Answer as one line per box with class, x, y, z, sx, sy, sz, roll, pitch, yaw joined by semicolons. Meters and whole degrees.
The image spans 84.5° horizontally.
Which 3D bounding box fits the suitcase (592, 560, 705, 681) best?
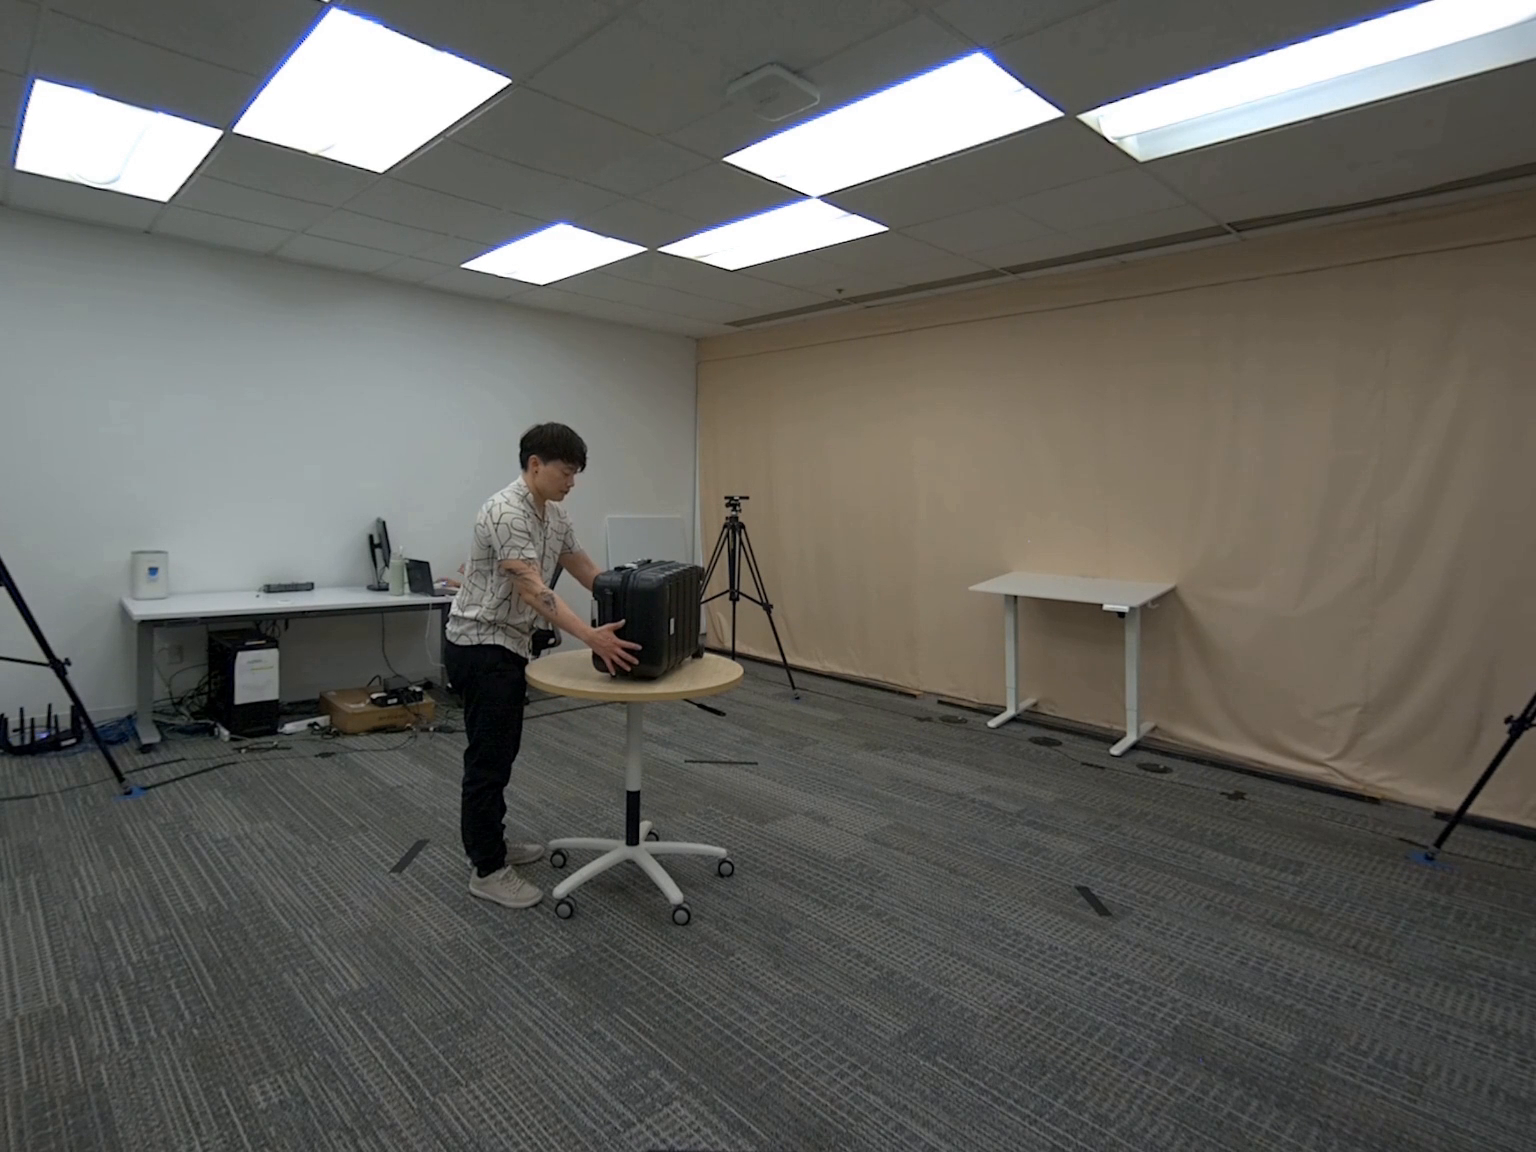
suitcase;-0.419;0.135;2.954;0.251;0.374;0.545;3;4;12
